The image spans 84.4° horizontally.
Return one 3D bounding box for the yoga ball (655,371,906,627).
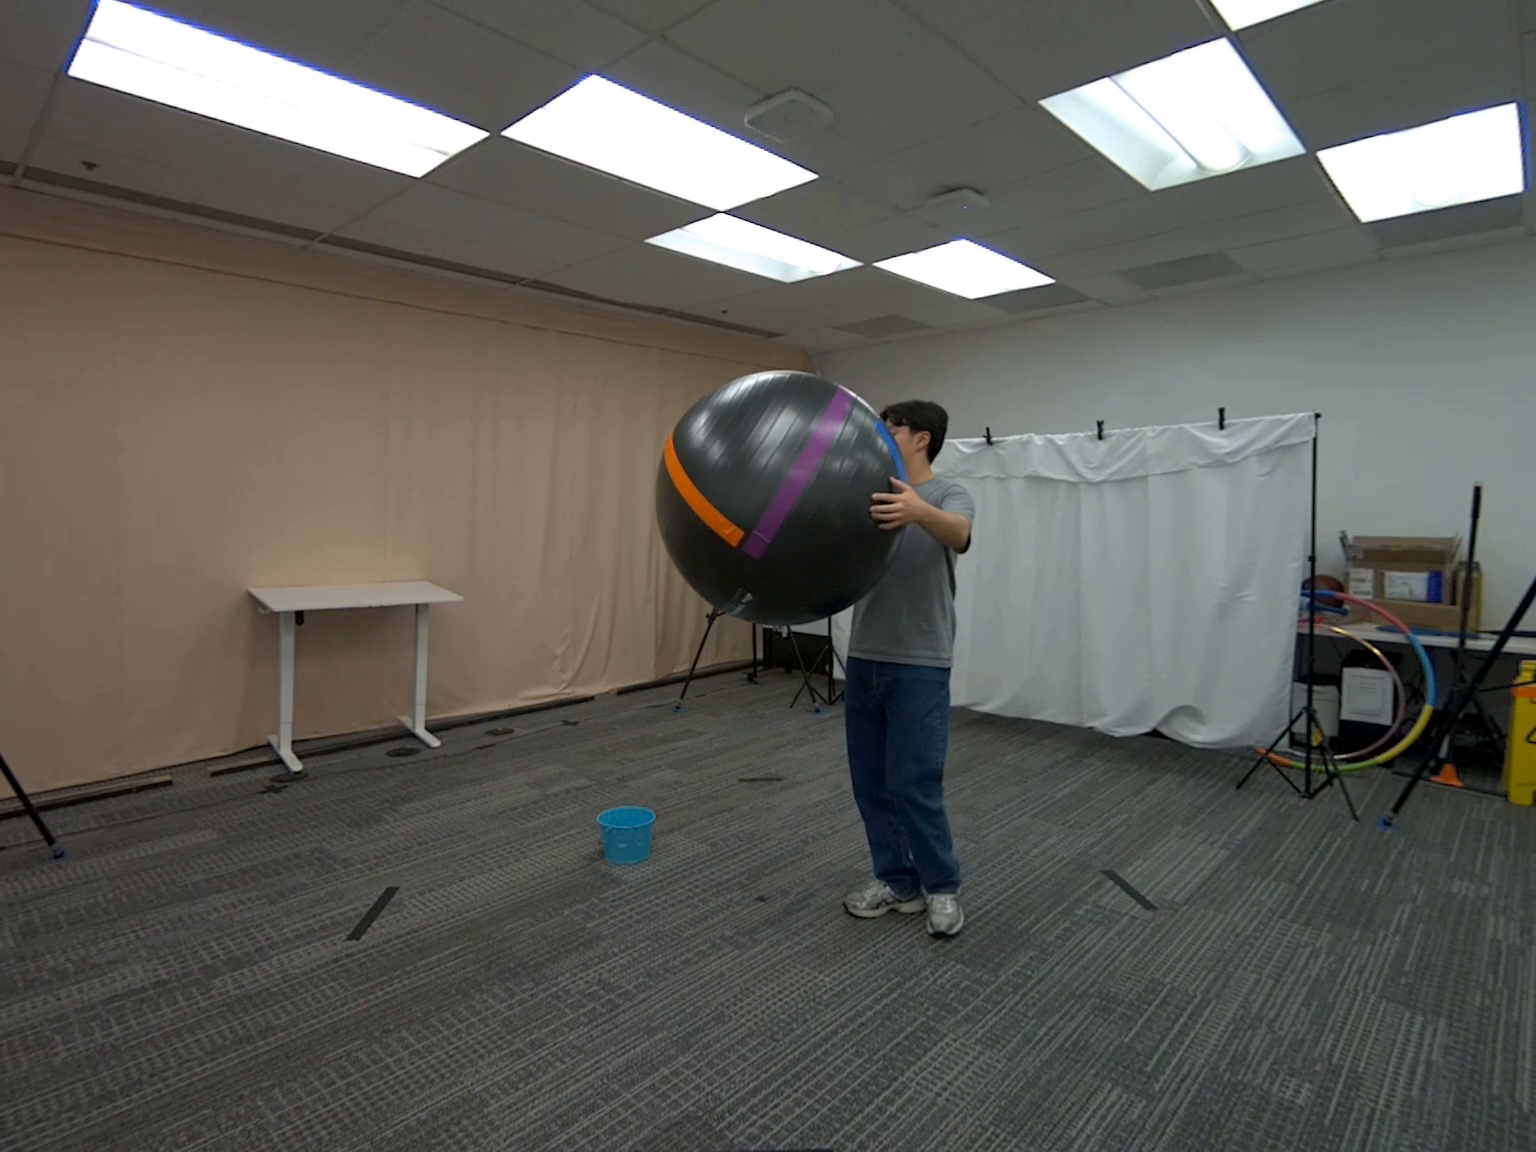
[{"bbox_3d":[0.040,-0.223,2.530,0.757,0.756,0.761,0,4,-2],"label":"yoga ball"}]
